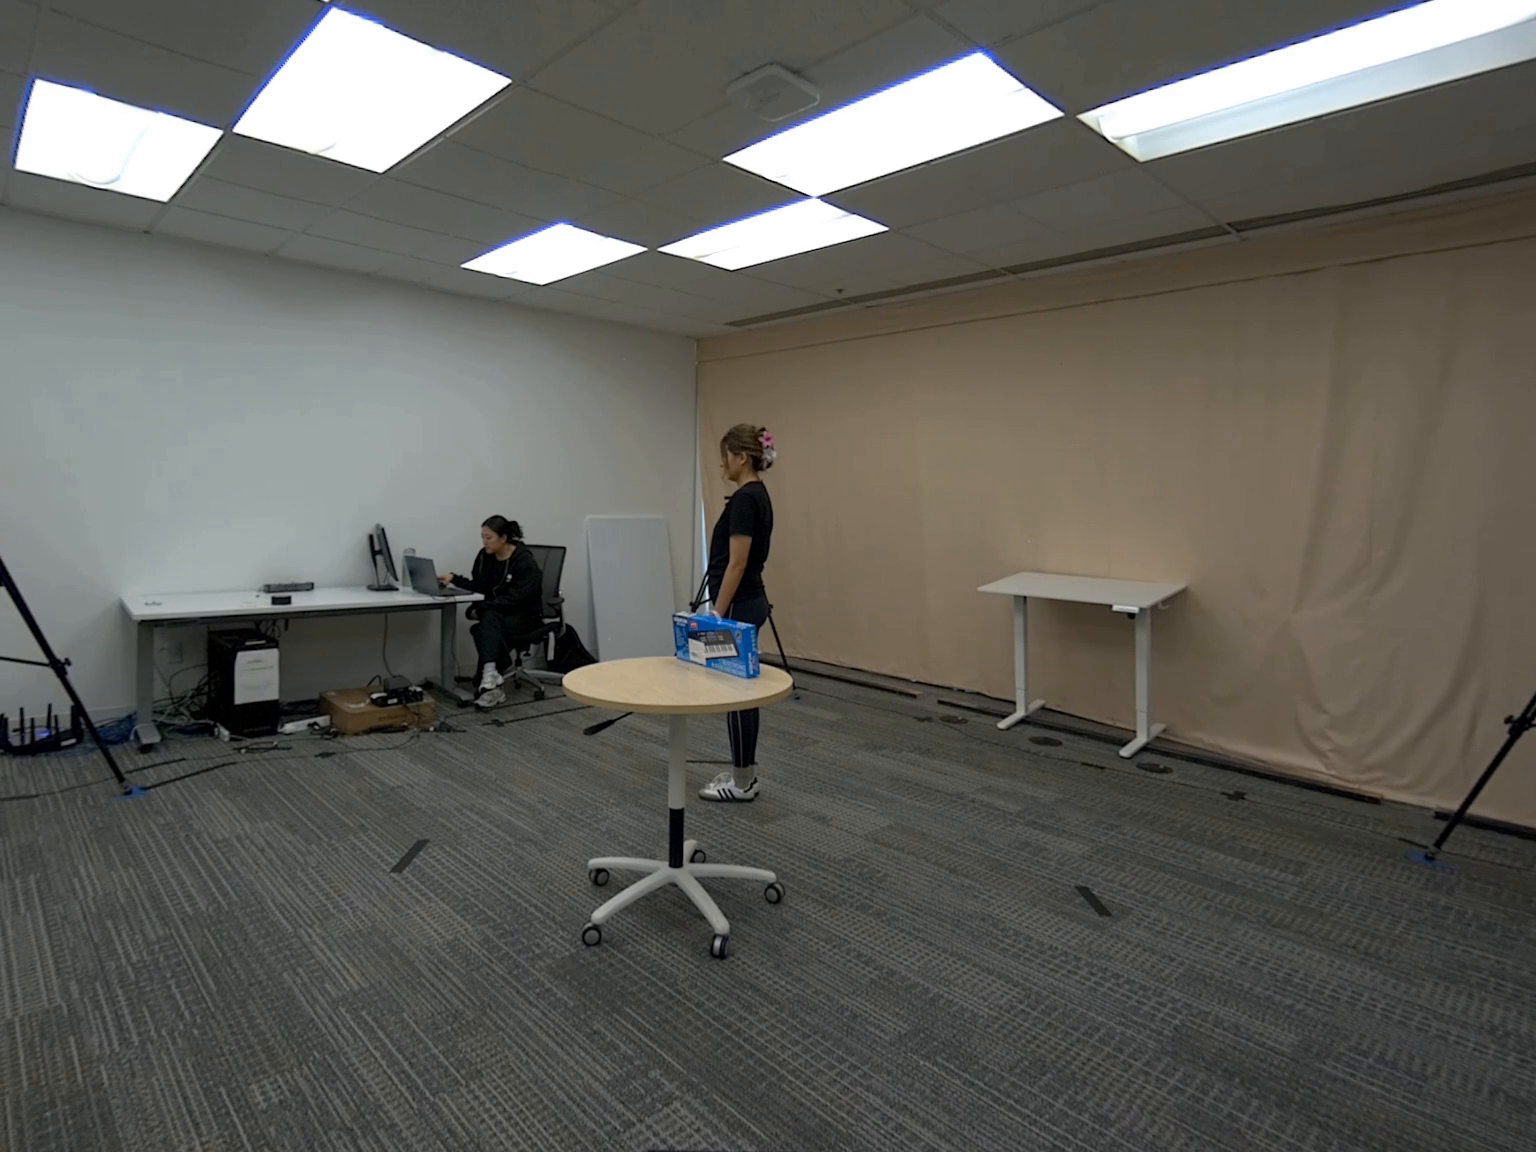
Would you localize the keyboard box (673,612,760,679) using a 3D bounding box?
[{"bbox_3d":[-0.204,0.241,2.987,0.058,0.175,0.448,-10,10,-37],"label":"keyboard box"}]
